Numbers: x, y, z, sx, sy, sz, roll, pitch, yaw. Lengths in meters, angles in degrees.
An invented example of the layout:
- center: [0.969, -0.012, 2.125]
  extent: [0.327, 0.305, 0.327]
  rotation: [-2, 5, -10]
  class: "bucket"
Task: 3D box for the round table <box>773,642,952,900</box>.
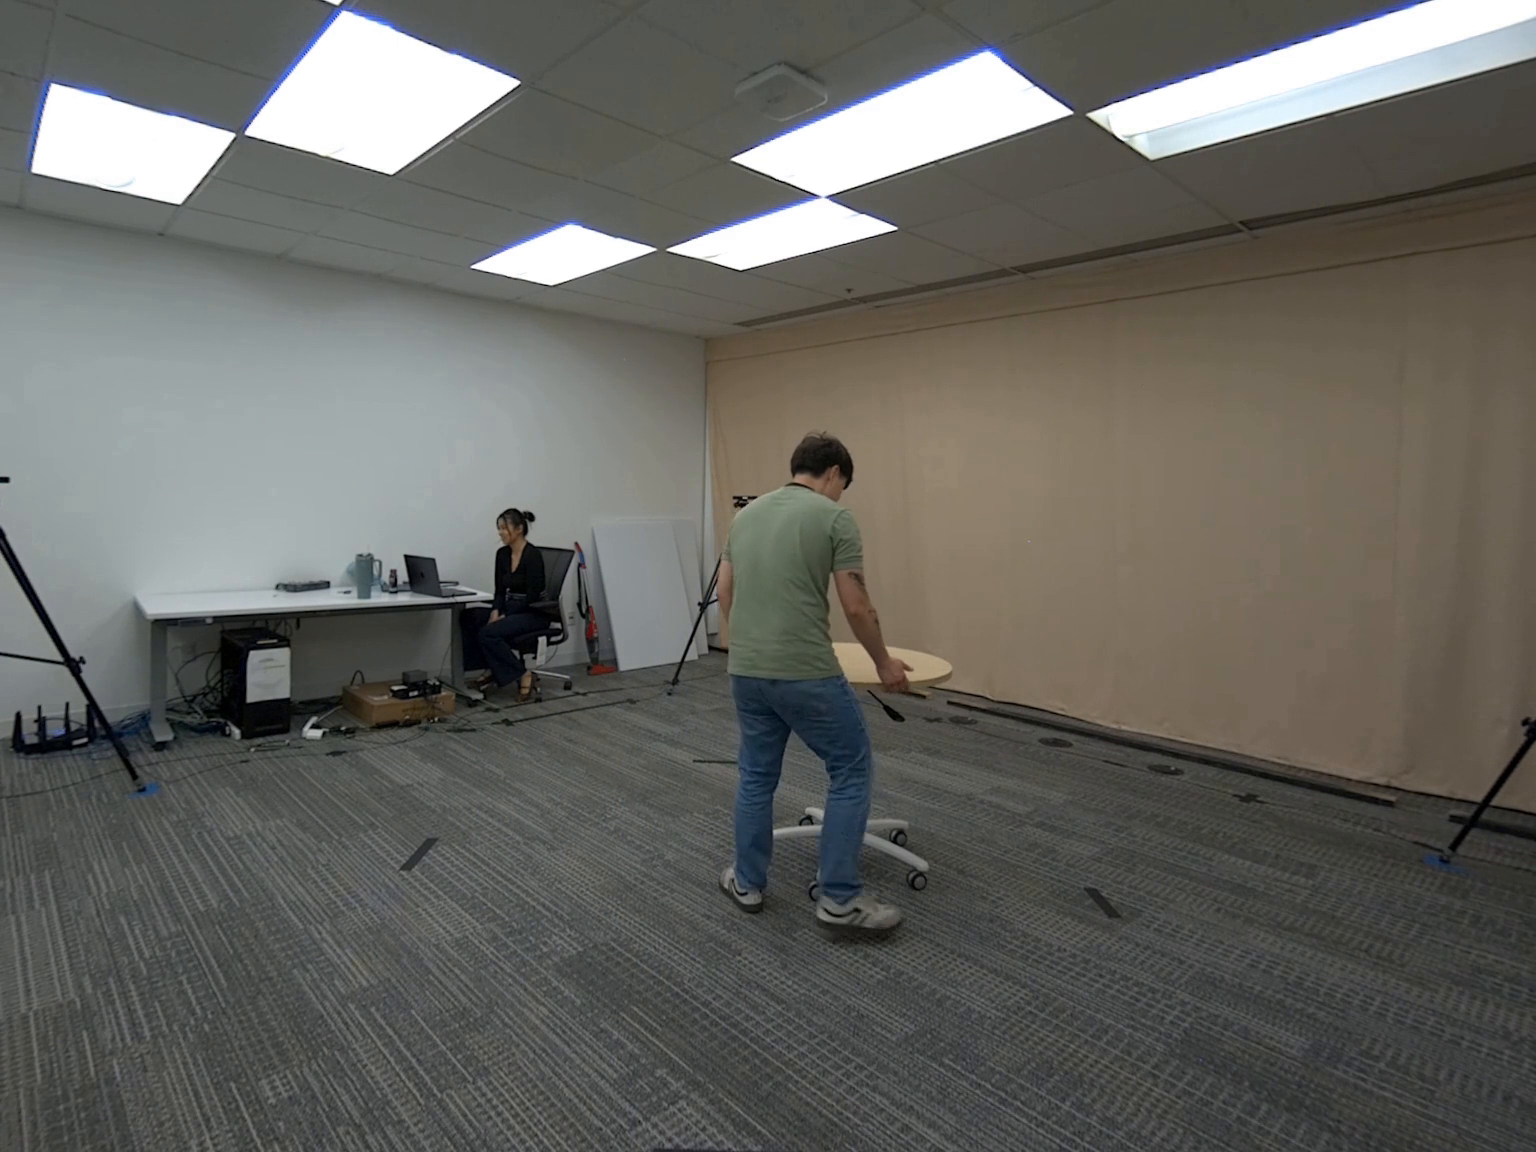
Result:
- center: [0.291, 0.715, 3.228]
  extent: [0.763, 0.792, 0.767]
  rotation: [2, 4, -1]
  class: "round table"
